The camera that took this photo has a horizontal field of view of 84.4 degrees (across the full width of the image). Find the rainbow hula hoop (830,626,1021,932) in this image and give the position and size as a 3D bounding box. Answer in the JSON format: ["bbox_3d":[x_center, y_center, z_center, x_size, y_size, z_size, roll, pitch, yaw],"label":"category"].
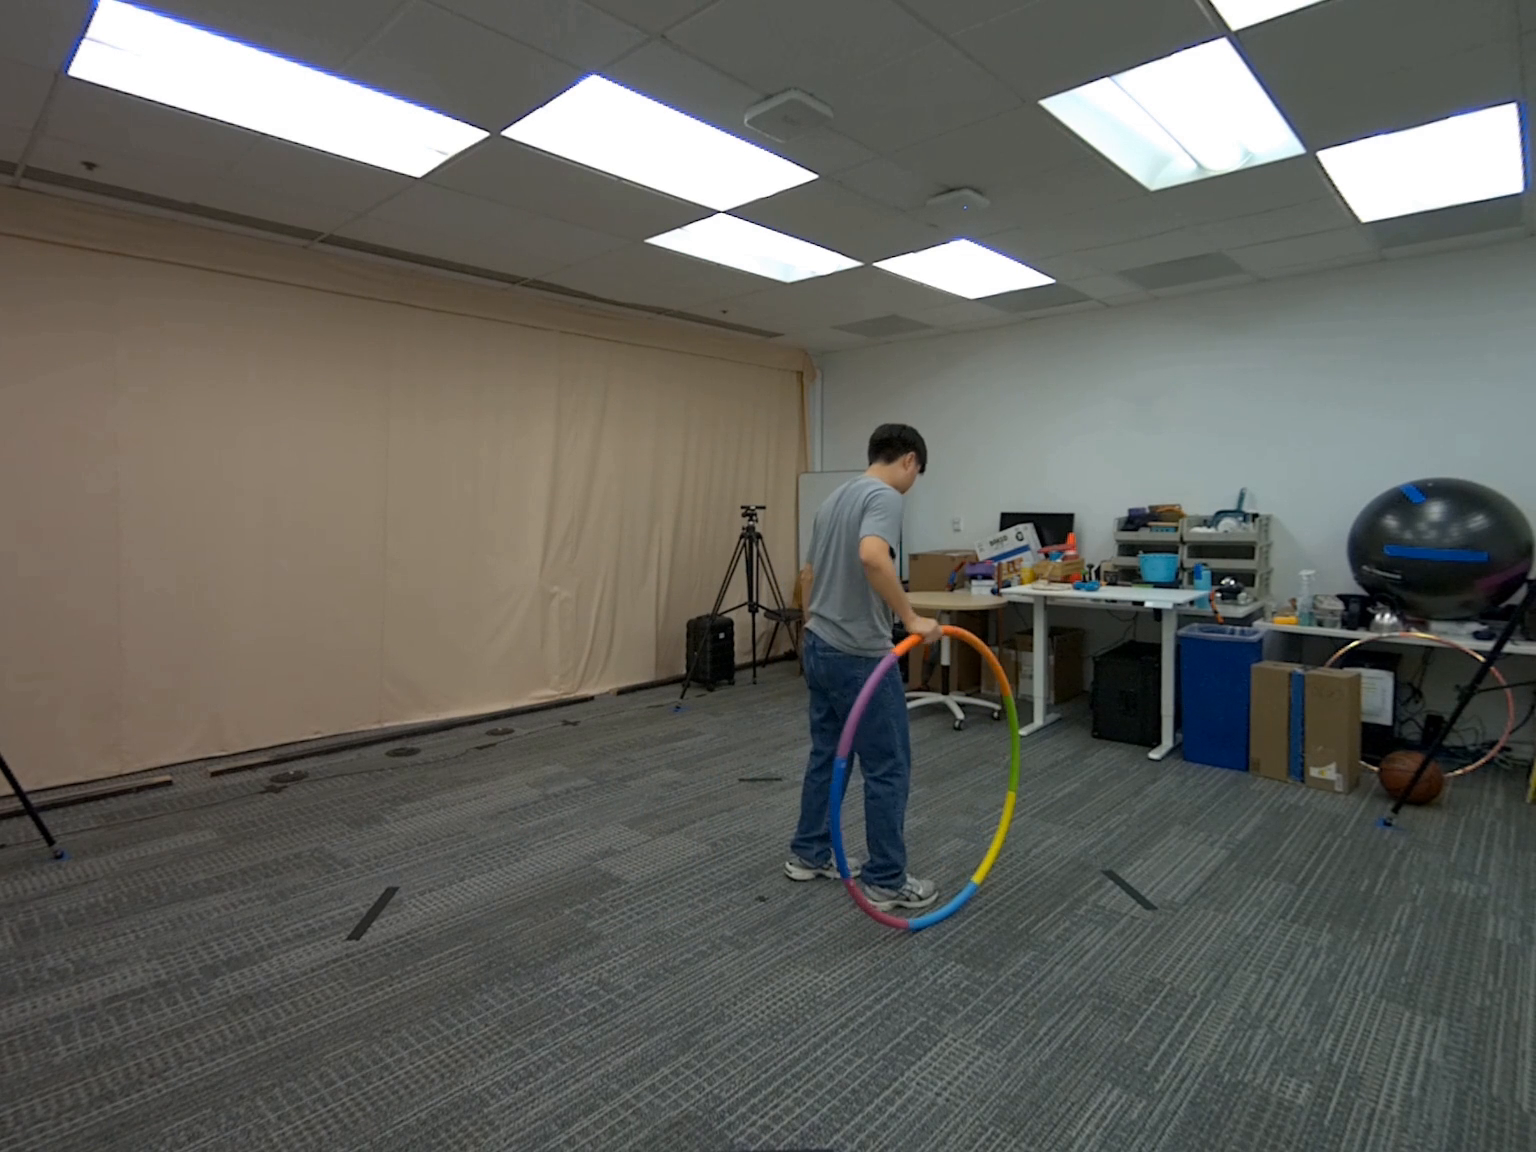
[{"bbox_3d":[0.561,0.662,2.797,0.949,0.977,0.037,-3,4,-40],"label":"rainbow hula hoop"}]
